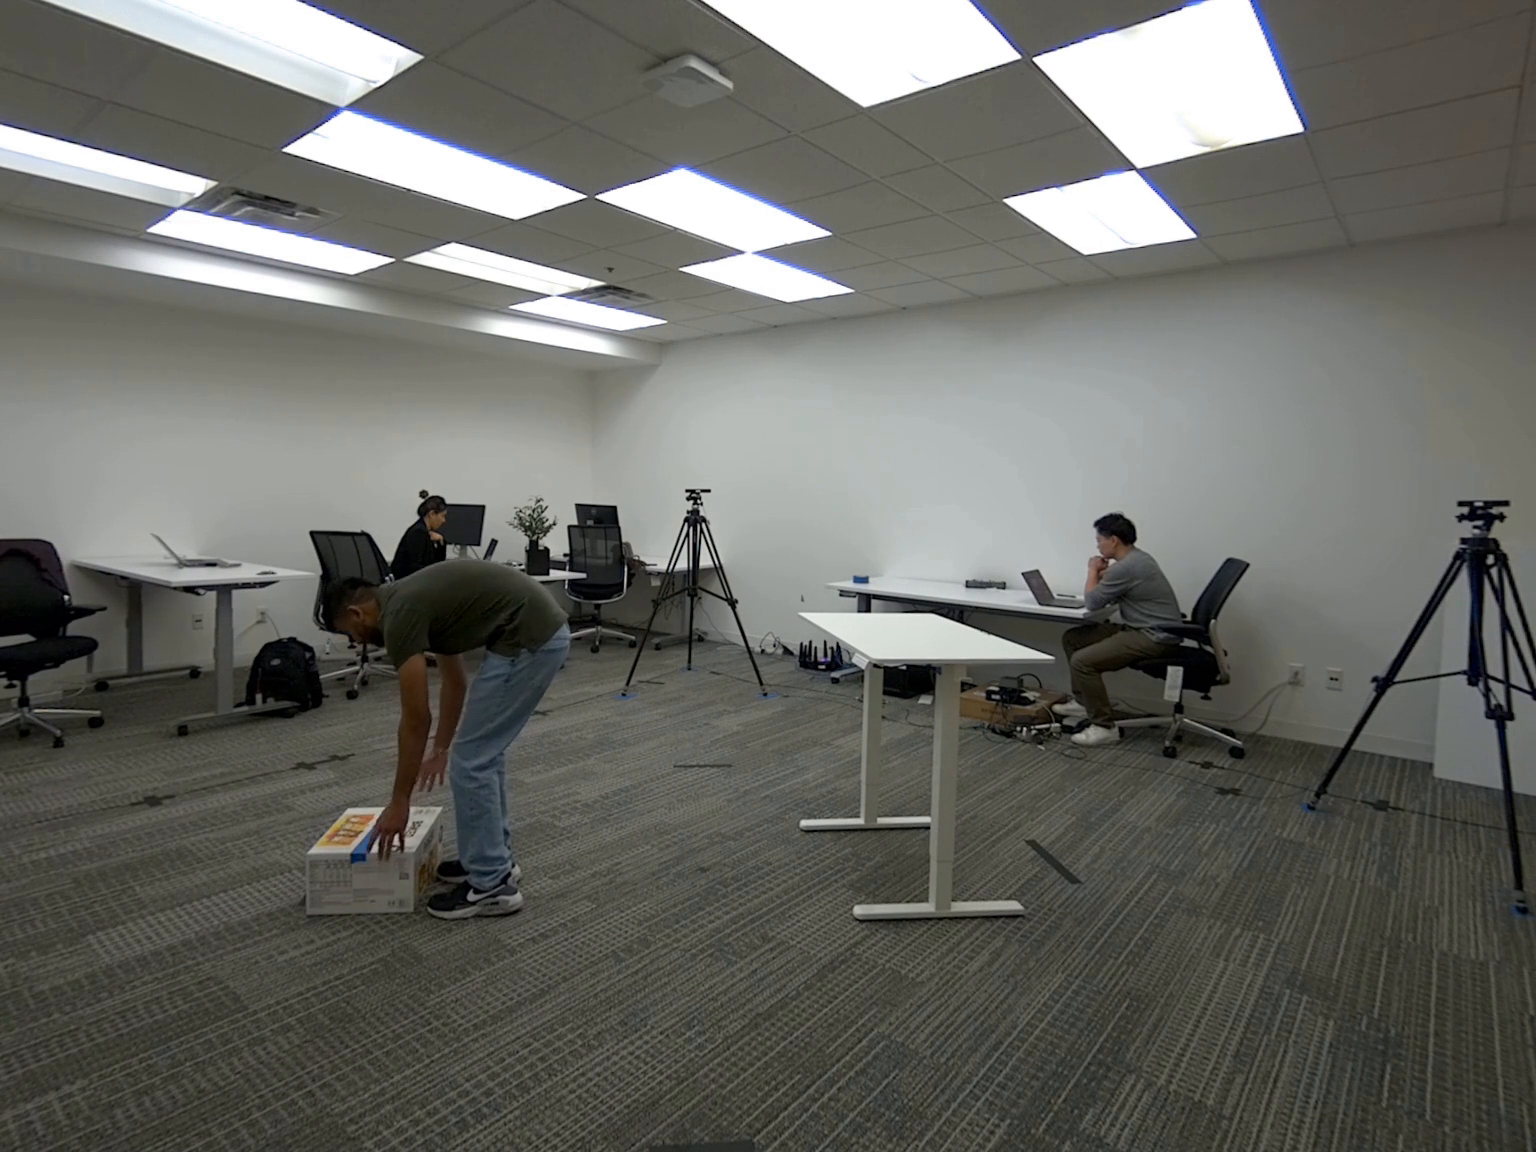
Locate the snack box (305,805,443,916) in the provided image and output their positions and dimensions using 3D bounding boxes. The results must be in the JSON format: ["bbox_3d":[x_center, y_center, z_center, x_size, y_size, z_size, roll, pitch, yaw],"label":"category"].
[{"bbox_3d":[-1.362,0.975,2.937,0.338,0.205,0.409,0,5,-7],"label":"snack box"}]
